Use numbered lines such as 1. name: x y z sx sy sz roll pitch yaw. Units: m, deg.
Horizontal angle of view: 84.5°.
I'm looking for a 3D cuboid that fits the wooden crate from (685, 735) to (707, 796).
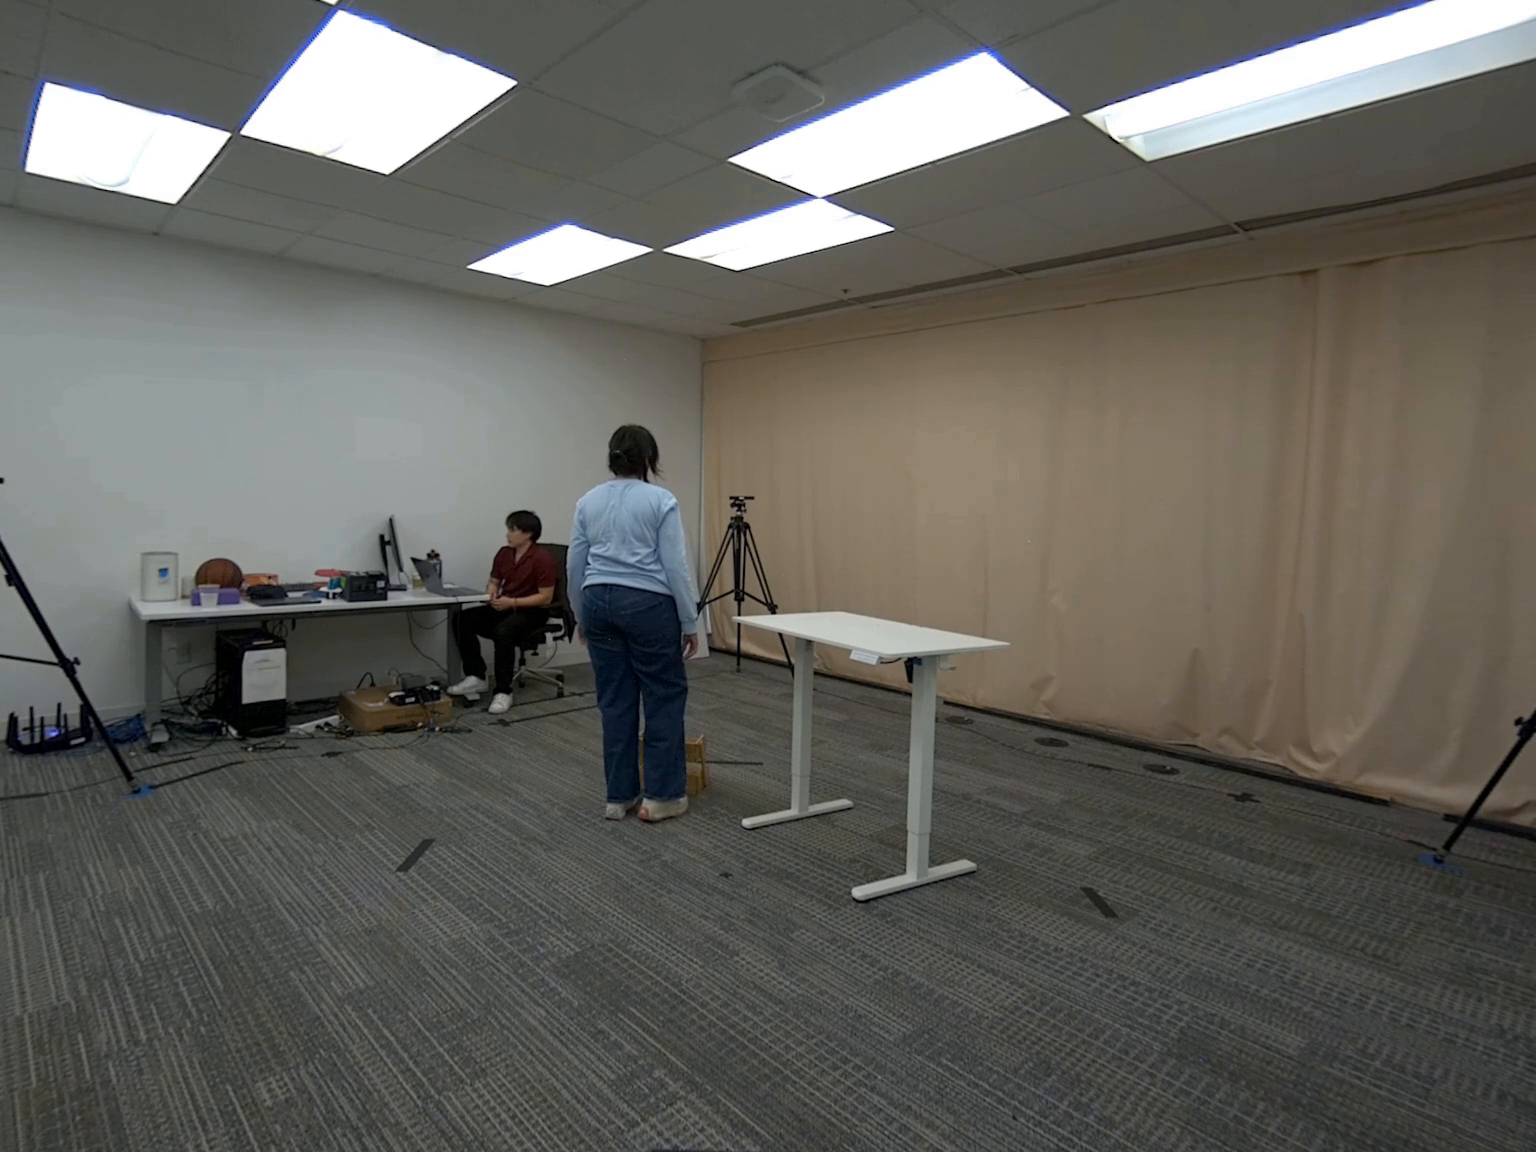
1. wooden crate: -0.469 0.883 4.078 0.327 0.272 0.300 2 5 10
